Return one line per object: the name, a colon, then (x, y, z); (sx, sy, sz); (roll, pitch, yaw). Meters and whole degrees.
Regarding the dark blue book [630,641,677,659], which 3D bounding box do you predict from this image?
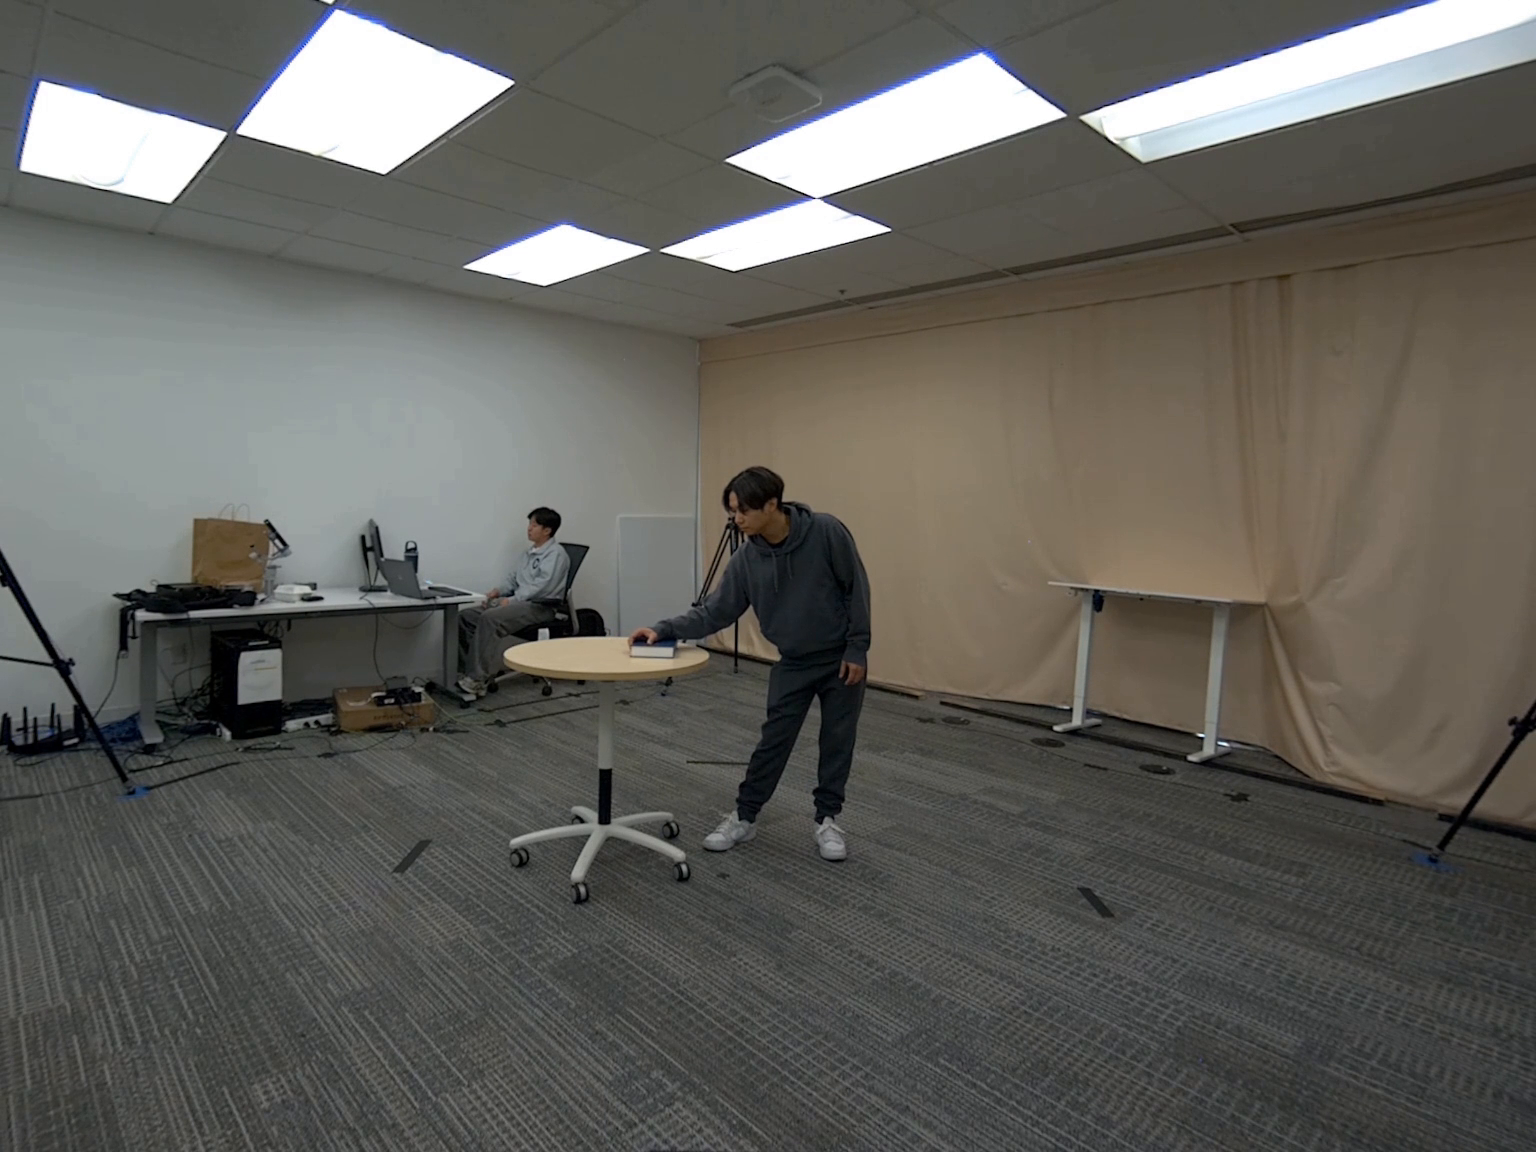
dark blue book: (-0.445, 0.275, 3.224); (0.163, 0.045, 0.246); (3, 3, -3)
